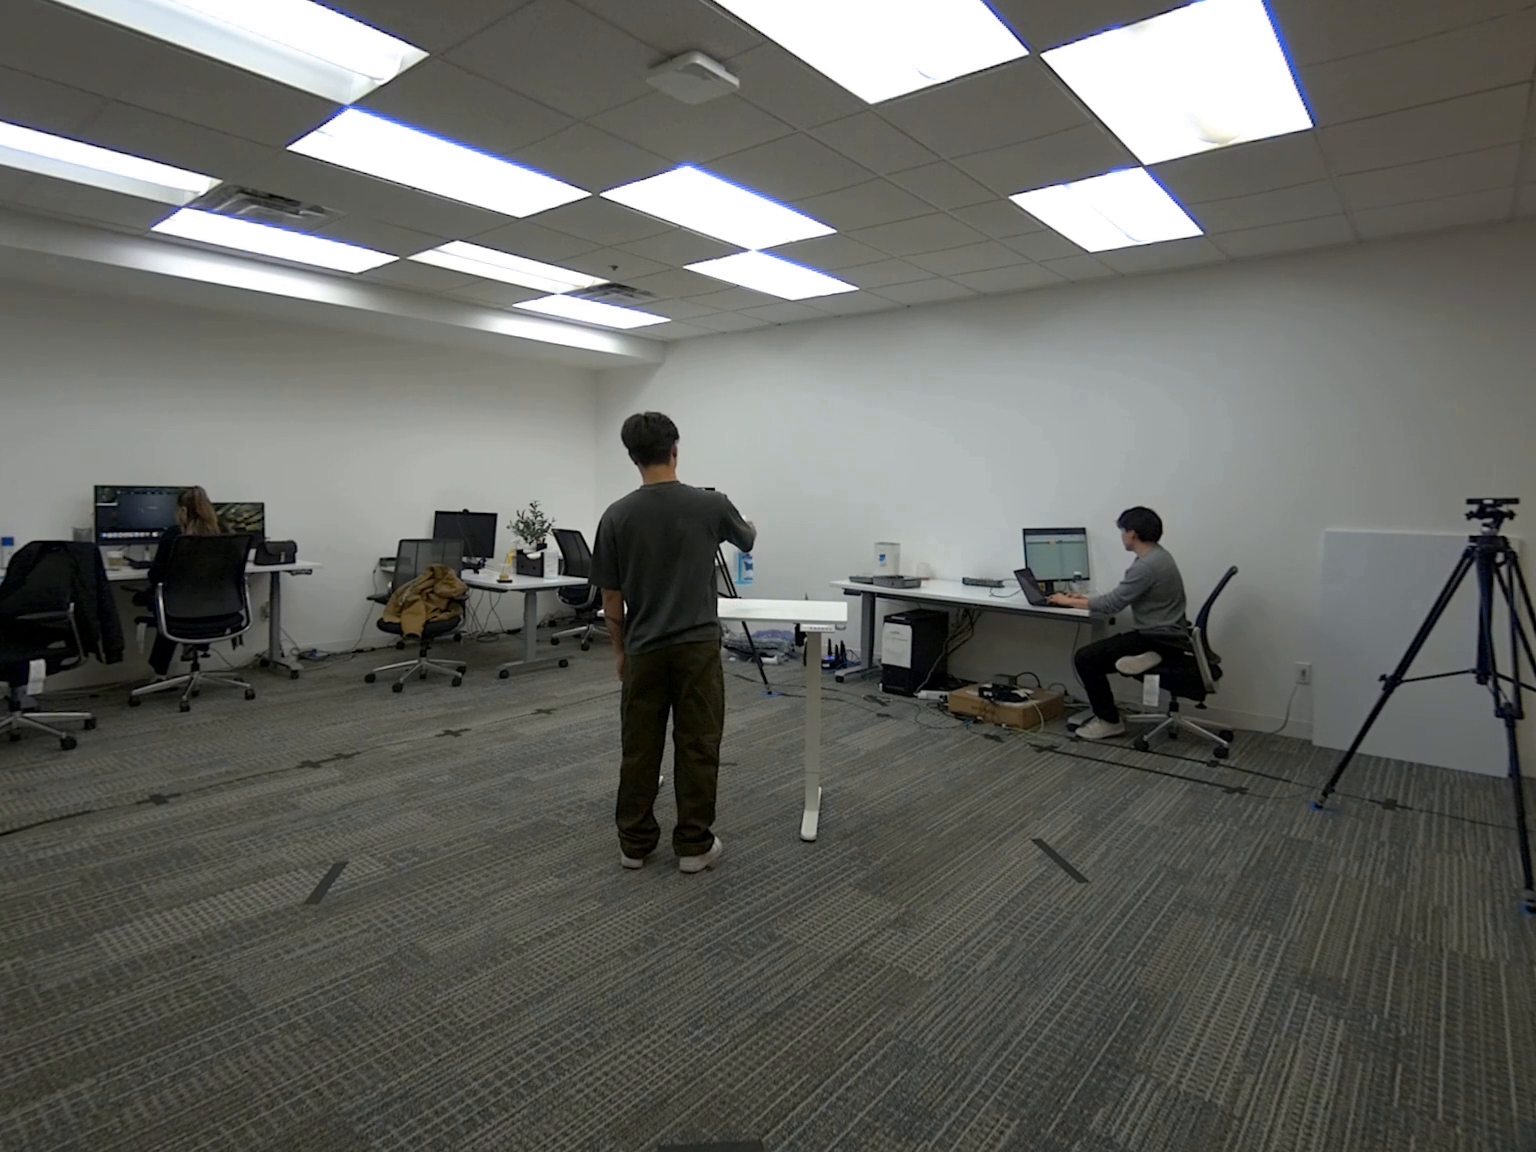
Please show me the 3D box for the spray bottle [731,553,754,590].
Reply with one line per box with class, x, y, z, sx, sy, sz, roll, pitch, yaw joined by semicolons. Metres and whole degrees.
spray bottle;-0.117;-0.111;3.639;0.089;0.299;0.088;-1;-6;21
